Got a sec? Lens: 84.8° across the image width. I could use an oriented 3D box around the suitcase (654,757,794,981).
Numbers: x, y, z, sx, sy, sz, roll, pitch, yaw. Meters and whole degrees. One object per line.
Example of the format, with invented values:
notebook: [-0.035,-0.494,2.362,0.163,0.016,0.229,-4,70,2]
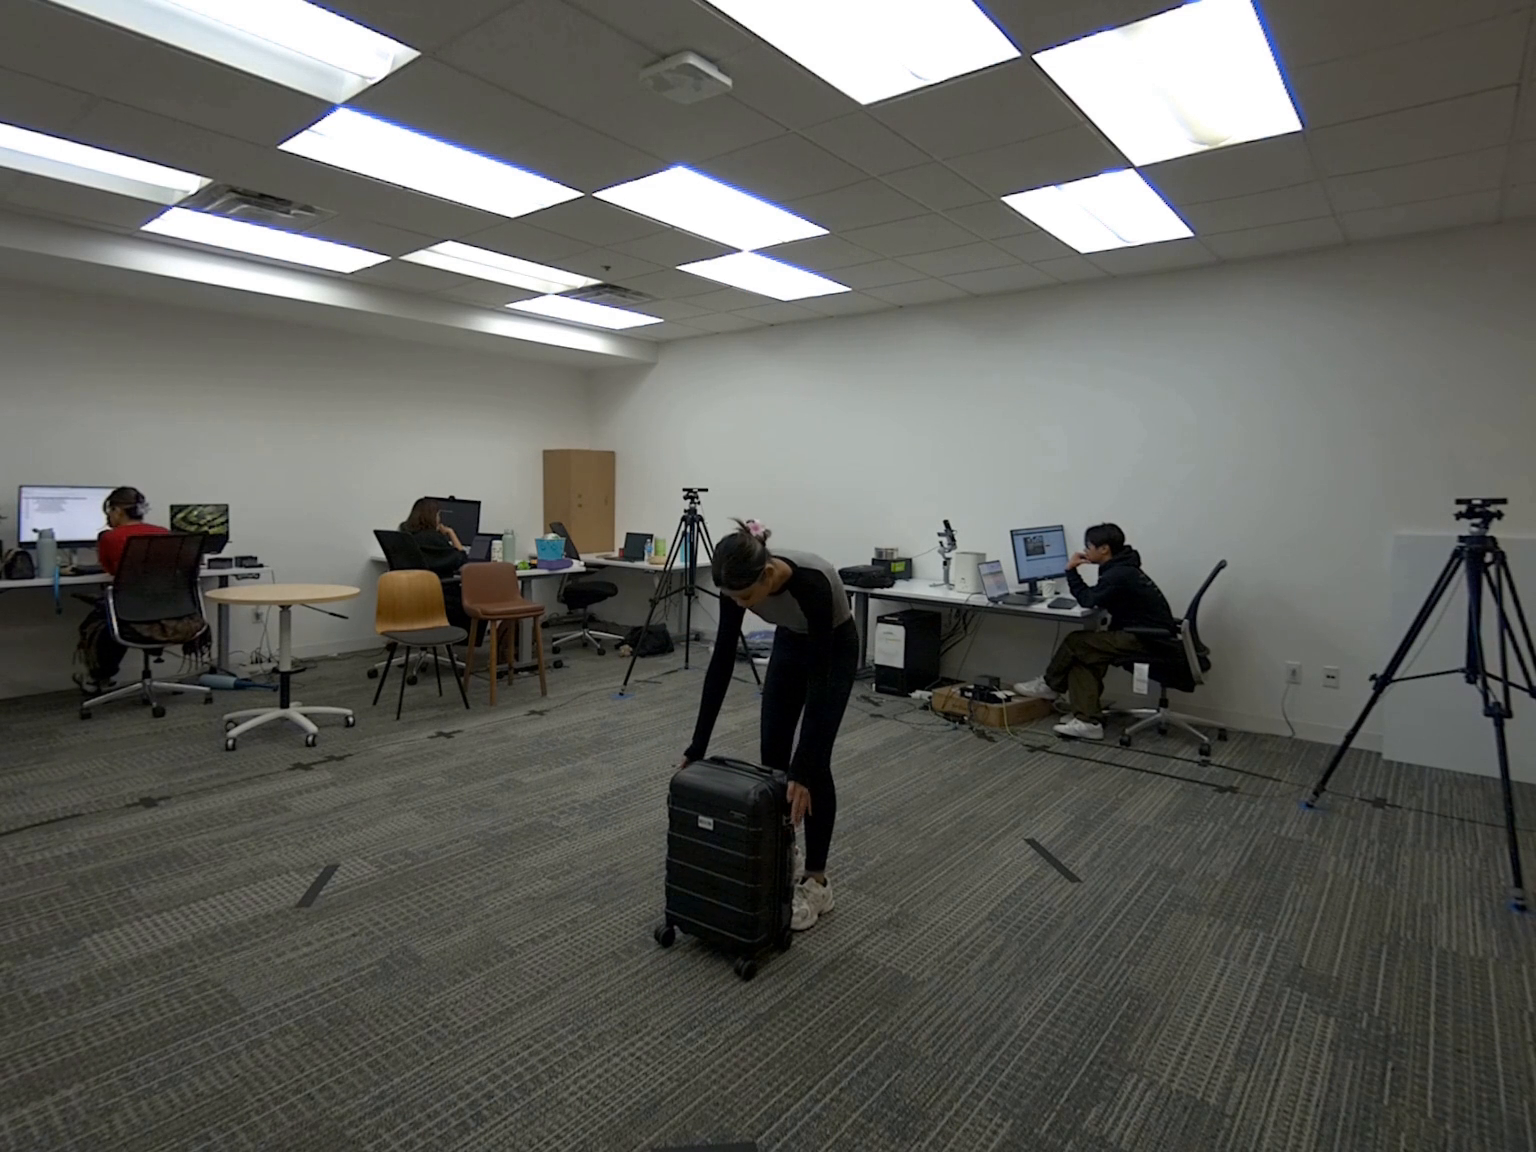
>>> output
suitcase: [-0.129,0.851,2.579,0.387,0.548,0.241,4,3,34]
